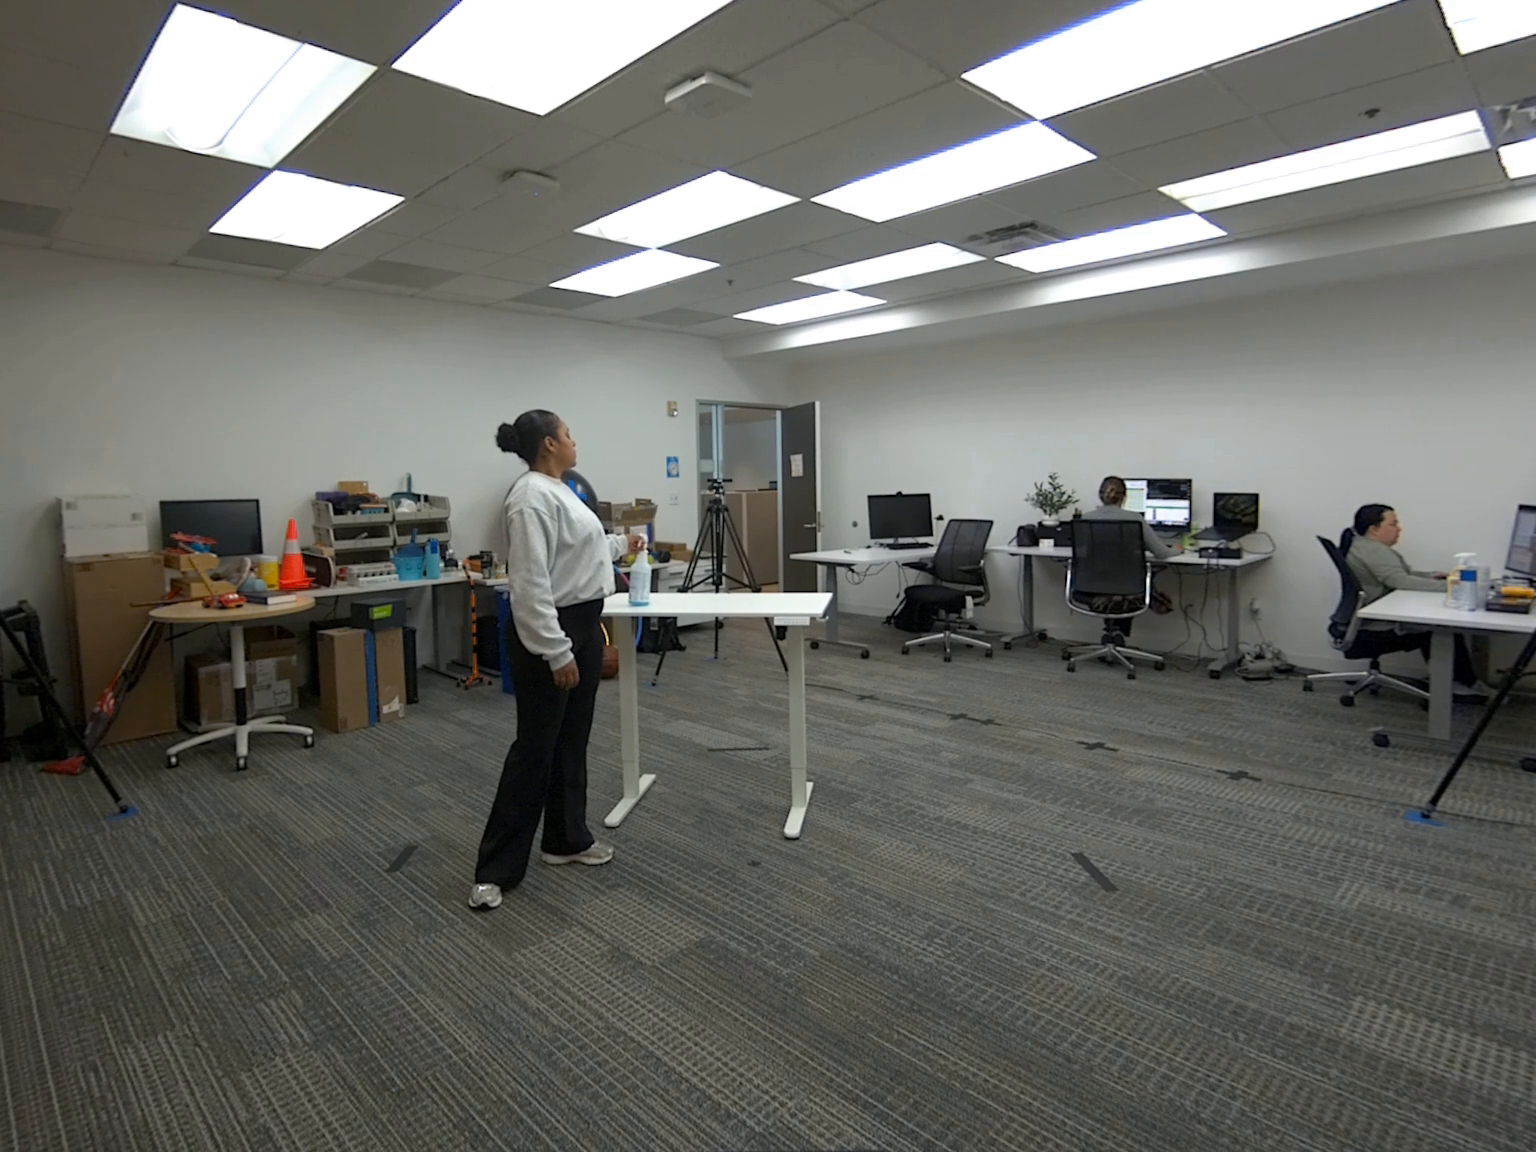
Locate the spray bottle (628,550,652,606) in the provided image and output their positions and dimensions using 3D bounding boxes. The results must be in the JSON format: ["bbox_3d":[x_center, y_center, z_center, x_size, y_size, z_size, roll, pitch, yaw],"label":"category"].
[{"bbox_3d":[-0.538,-0.027,3.570,0.090,0.296,0.087,6,5,35],"label":"spray bottle"}]
